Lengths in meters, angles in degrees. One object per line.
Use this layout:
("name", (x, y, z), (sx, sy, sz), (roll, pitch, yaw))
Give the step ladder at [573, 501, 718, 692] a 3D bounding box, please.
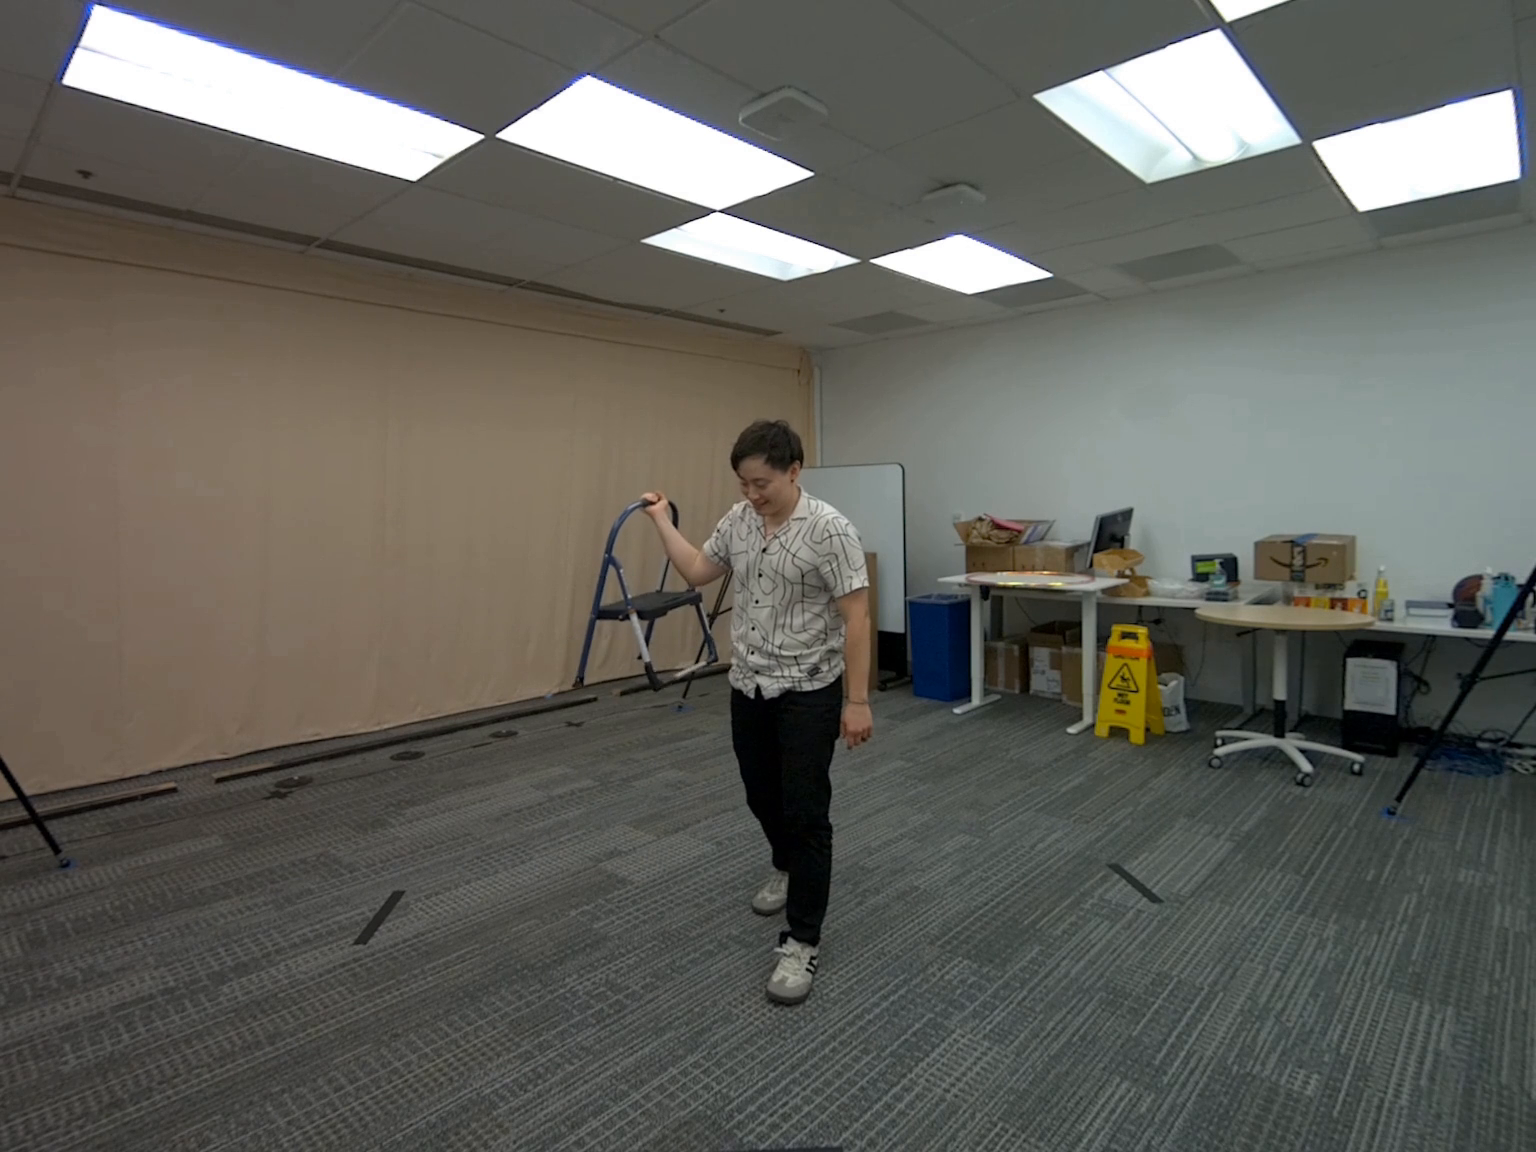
("step ladder", (-0.430, 0.046, 2.910), (0.358, 0.604, 0.421), (-2, 6, 27))
